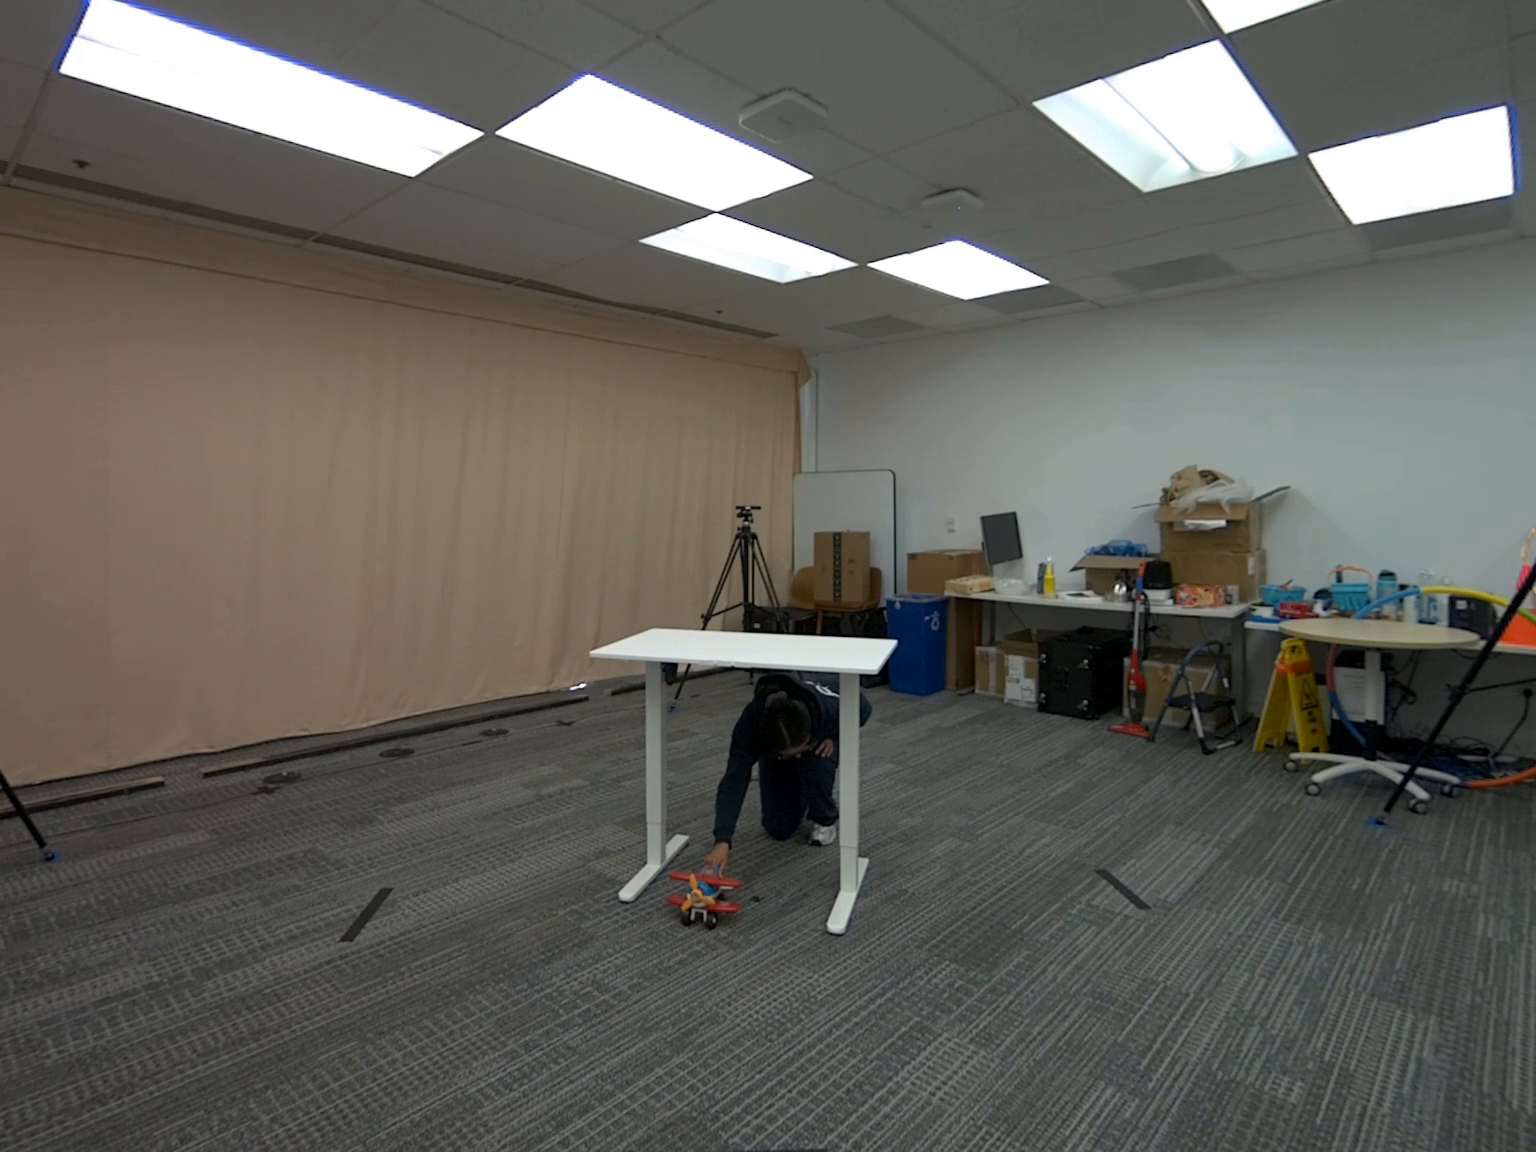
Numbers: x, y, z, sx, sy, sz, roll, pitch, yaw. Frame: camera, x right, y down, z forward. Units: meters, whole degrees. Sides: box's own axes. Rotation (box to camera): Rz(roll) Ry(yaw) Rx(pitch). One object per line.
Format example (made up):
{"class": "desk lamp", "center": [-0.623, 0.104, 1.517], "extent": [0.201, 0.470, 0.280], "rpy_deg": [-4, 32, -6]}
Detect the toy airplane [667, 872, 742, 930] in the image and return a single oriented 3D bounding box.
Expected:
{"class": "toy airplane", "center": [-0.205, 1.076, 2.880], "extent": [0.248, 0.156, 0.263], "rpy_deg": [-1, 5, -14]}
